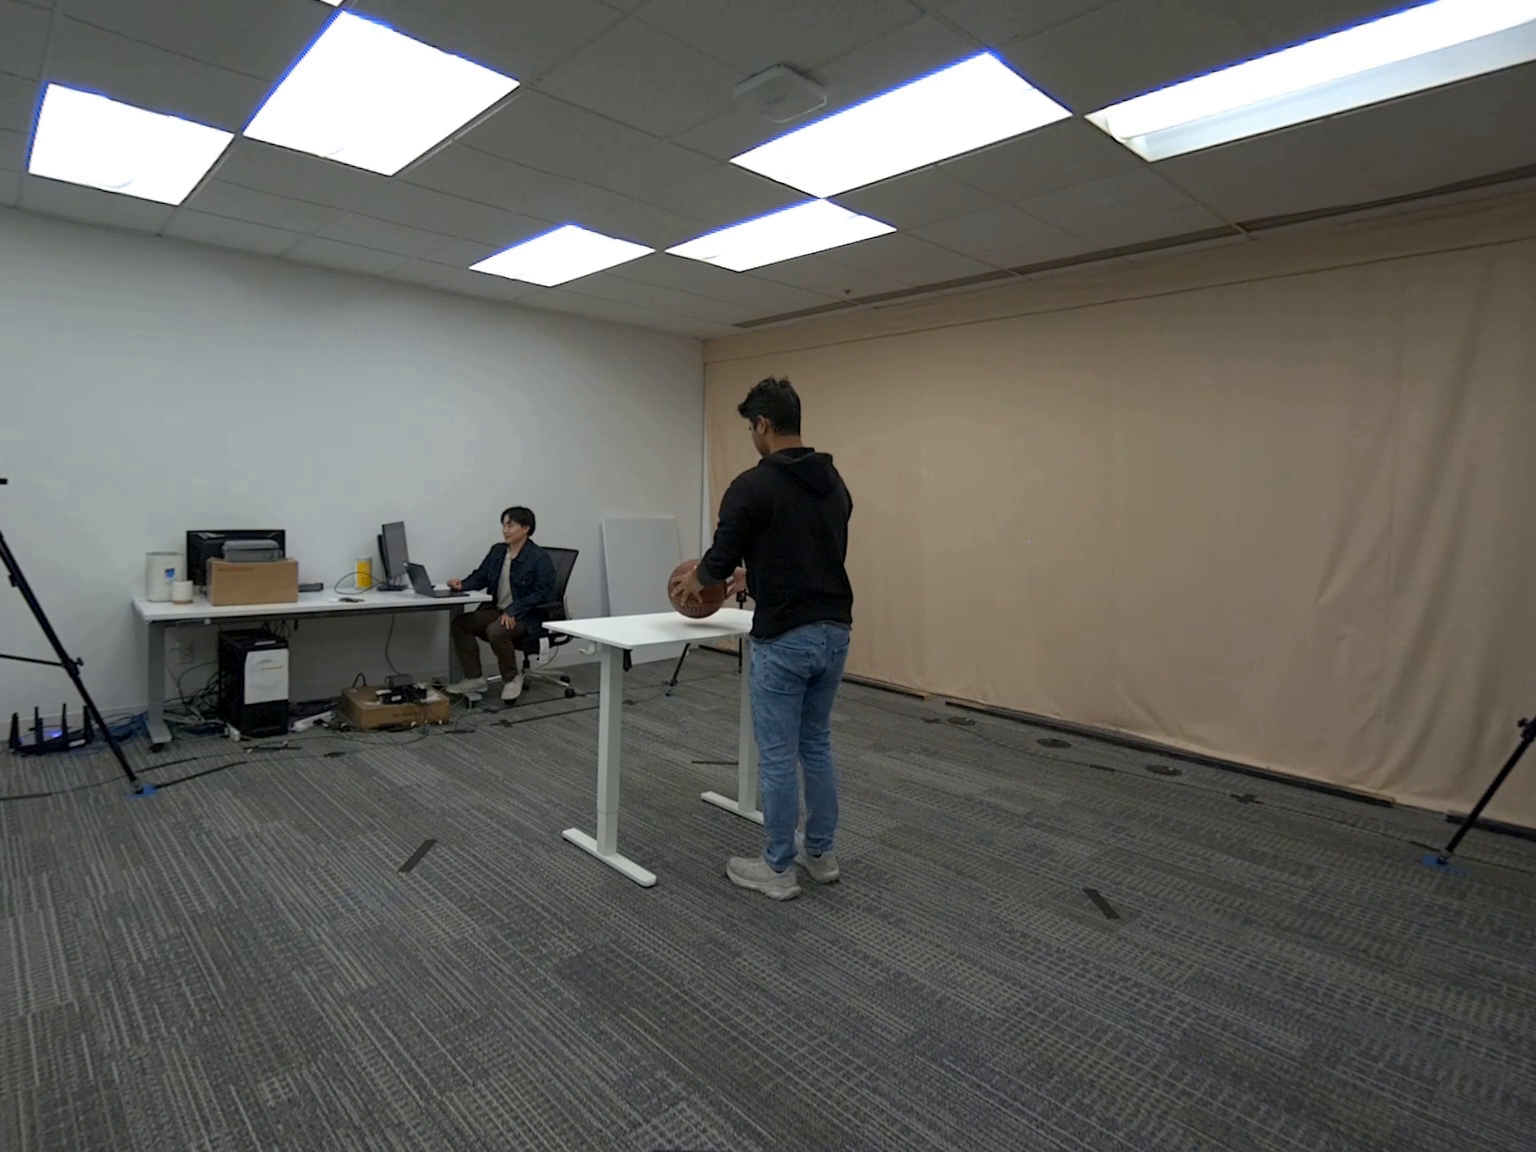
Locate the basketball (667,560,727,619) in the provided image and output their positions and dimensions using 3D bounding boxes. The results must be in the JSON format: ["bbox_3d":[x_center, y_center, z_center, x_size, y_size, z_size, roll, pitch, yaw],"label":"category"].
[{"bbox_3d":[-0.267,0.054,3.349,0.236,0.235,0.237,1,4,-1],"label":"basketball"}]
